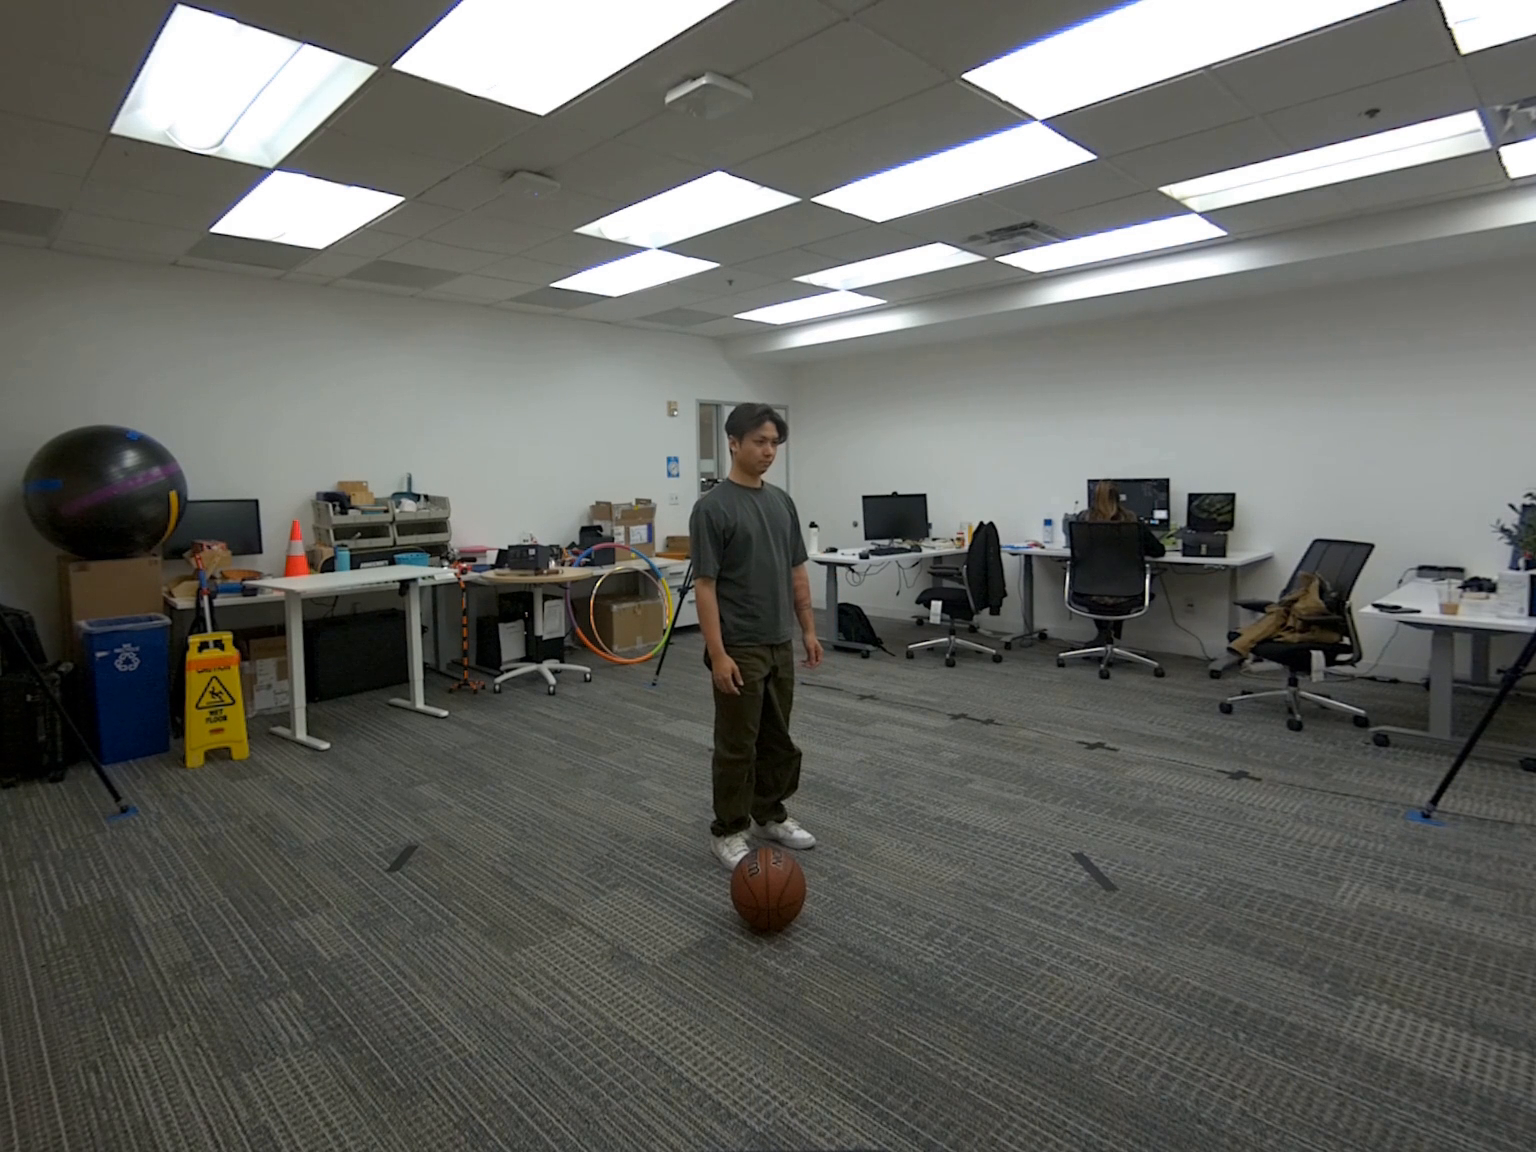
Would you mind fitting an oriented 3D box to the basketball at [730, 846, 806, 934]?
[{"bbox_3d":[0.010,0.981,2.672,0.236,0.235,0.237,-1,5,-2],"label":"basketball"}]
